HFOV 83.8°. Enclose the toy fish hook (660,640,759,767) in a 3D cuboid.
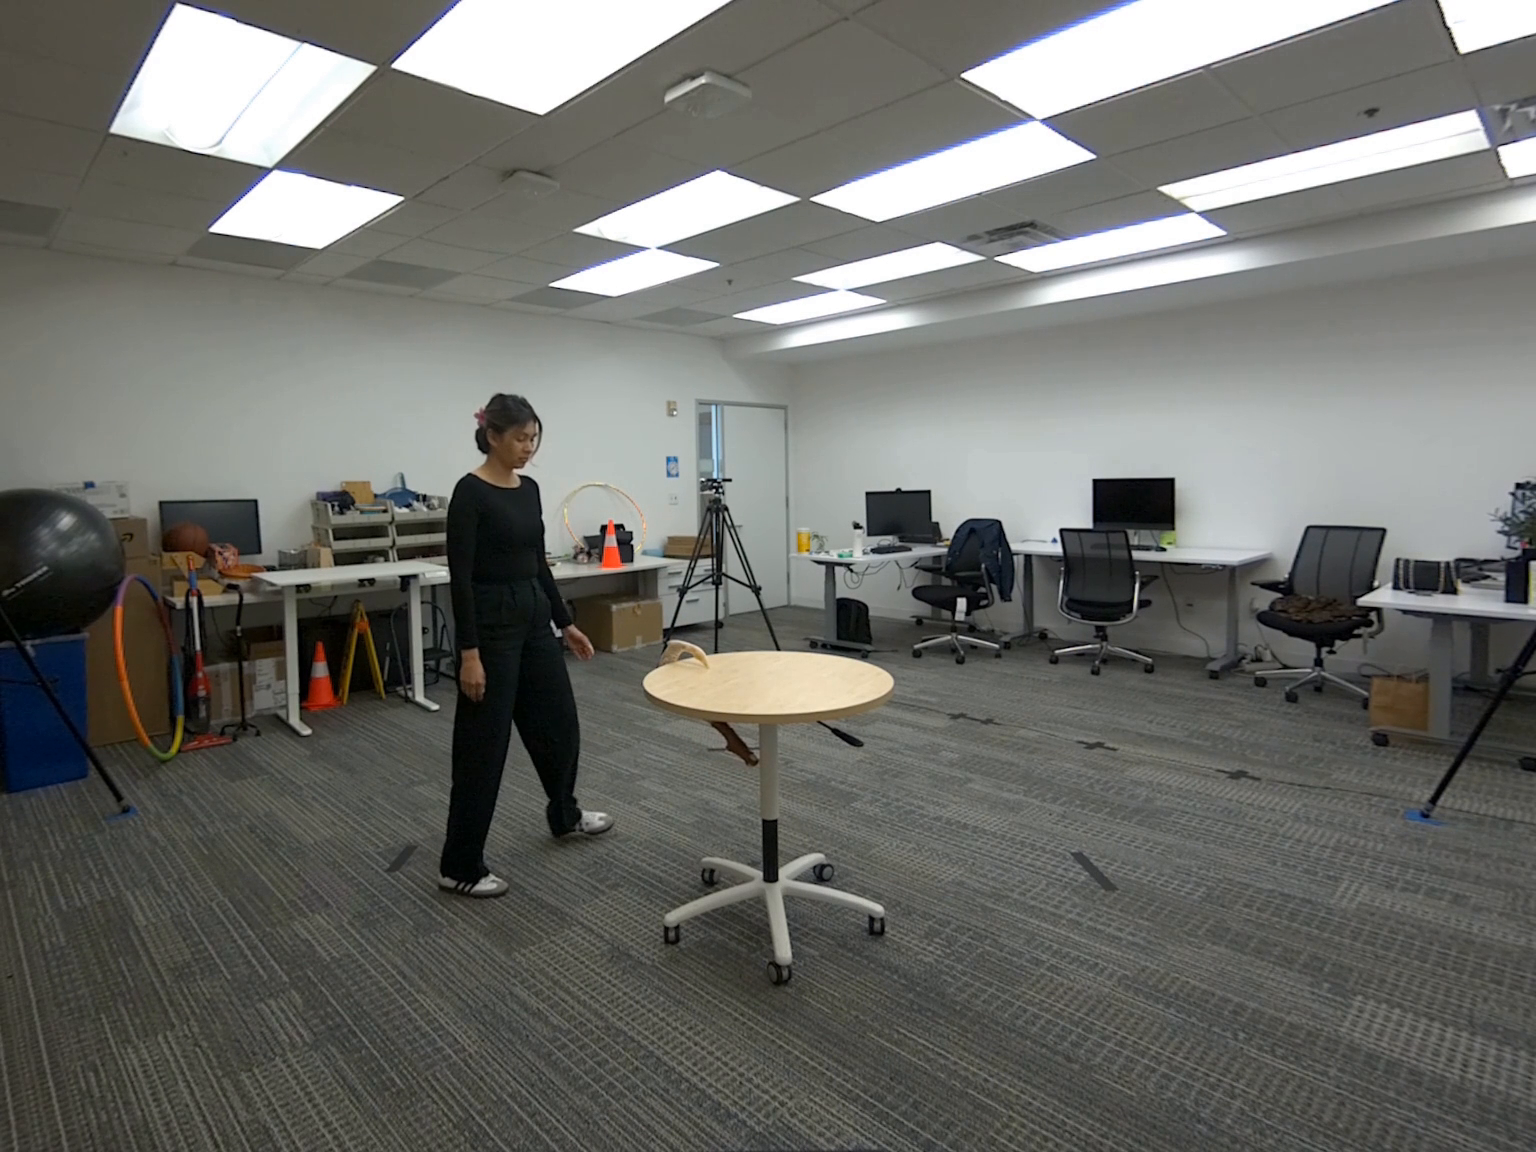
[{"bbox_3d":[-0.189,0.402,2.772,0.525,0.222,0.047,38,28,32],"label":"toy fish hook"}]
